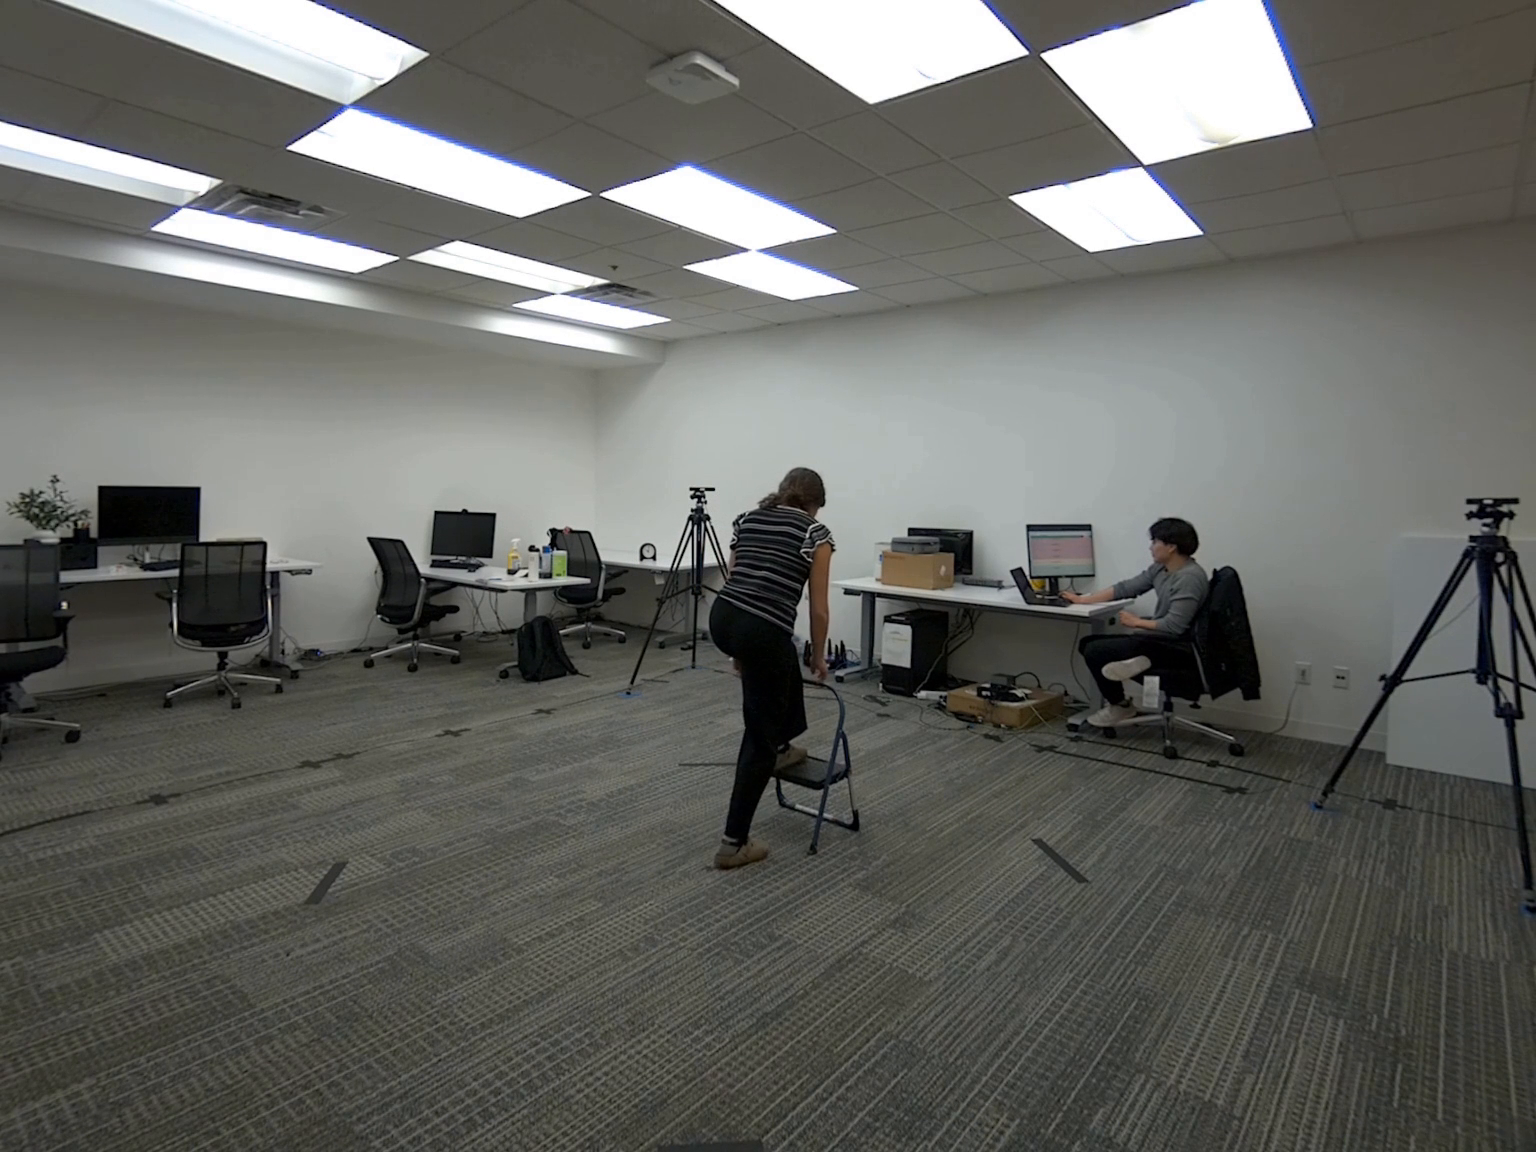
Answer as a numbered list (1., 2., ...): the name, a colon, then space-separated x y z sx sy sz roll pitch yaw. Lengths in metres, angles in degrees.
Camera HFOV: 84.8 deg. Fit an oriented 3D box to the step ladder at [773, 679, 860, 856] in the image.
1. step ladder: 0.114 0.733 3.495 0.445 0.604 0.339 4 4 40
